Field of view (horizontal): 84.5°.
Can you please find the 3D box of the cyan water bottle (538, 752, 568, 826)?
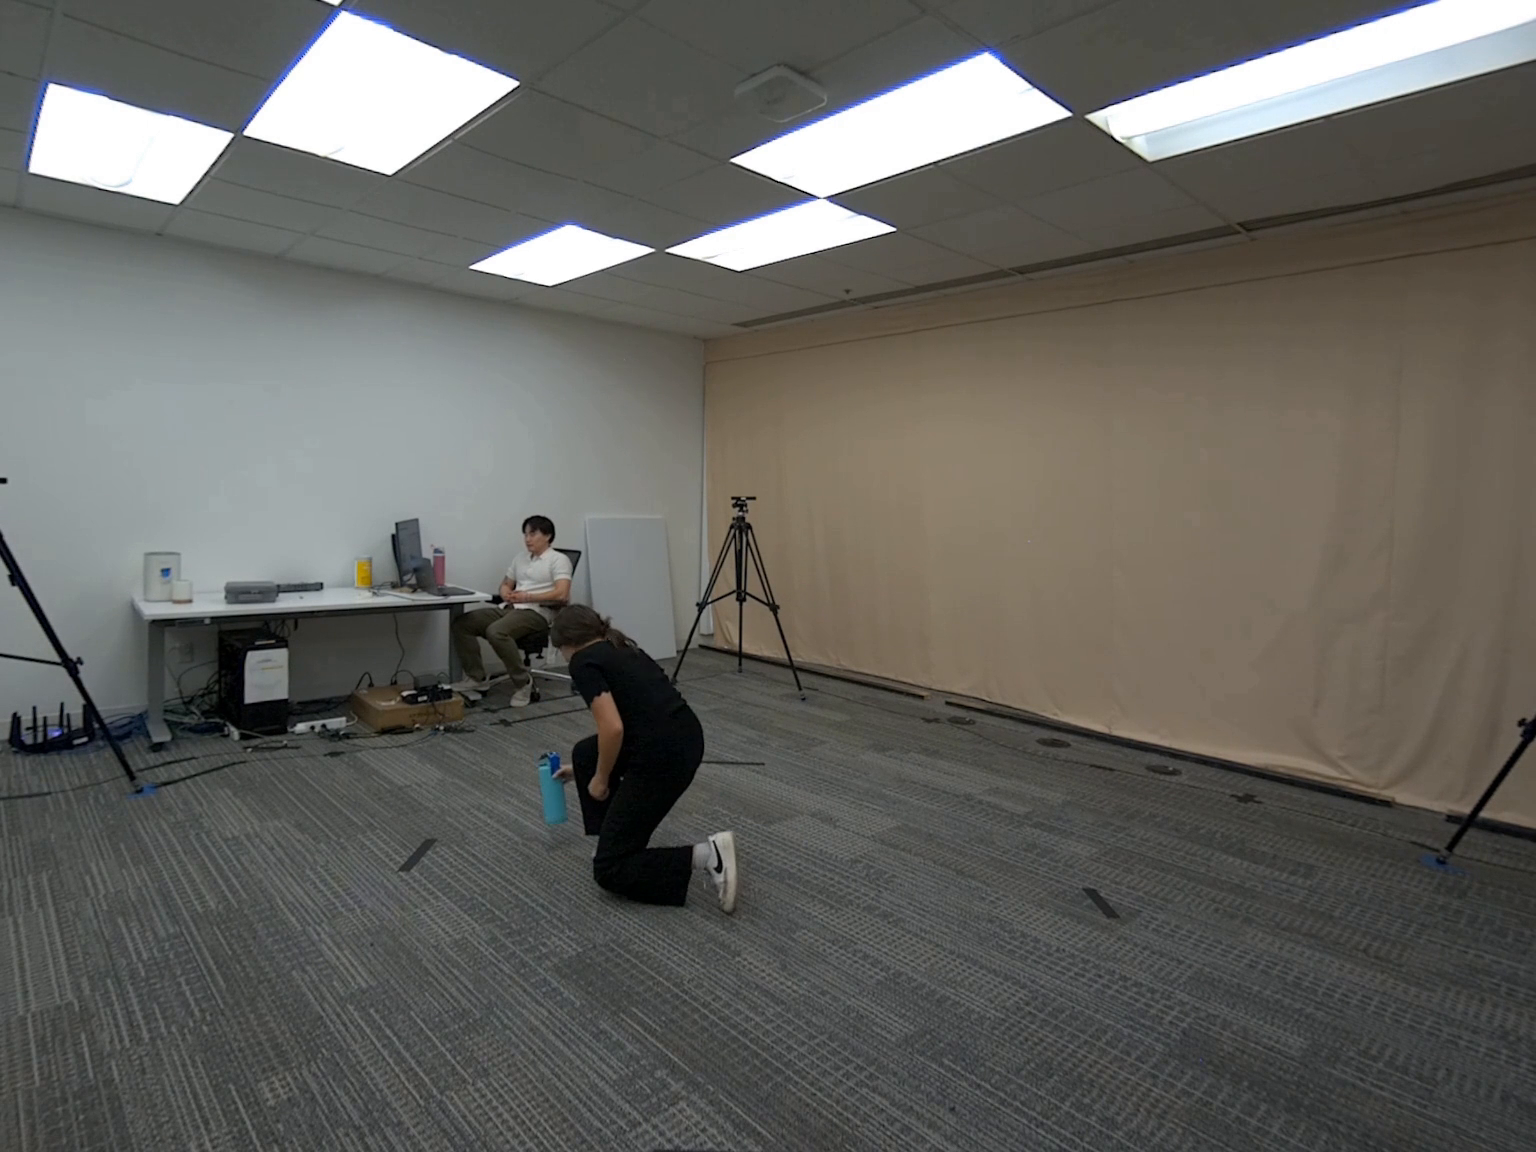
[{"bbox_3d":[-0.864,0.831,3.356,0.092,0.285,0.092,-6,-7,-2],"label":"cyan water bottle"}]
